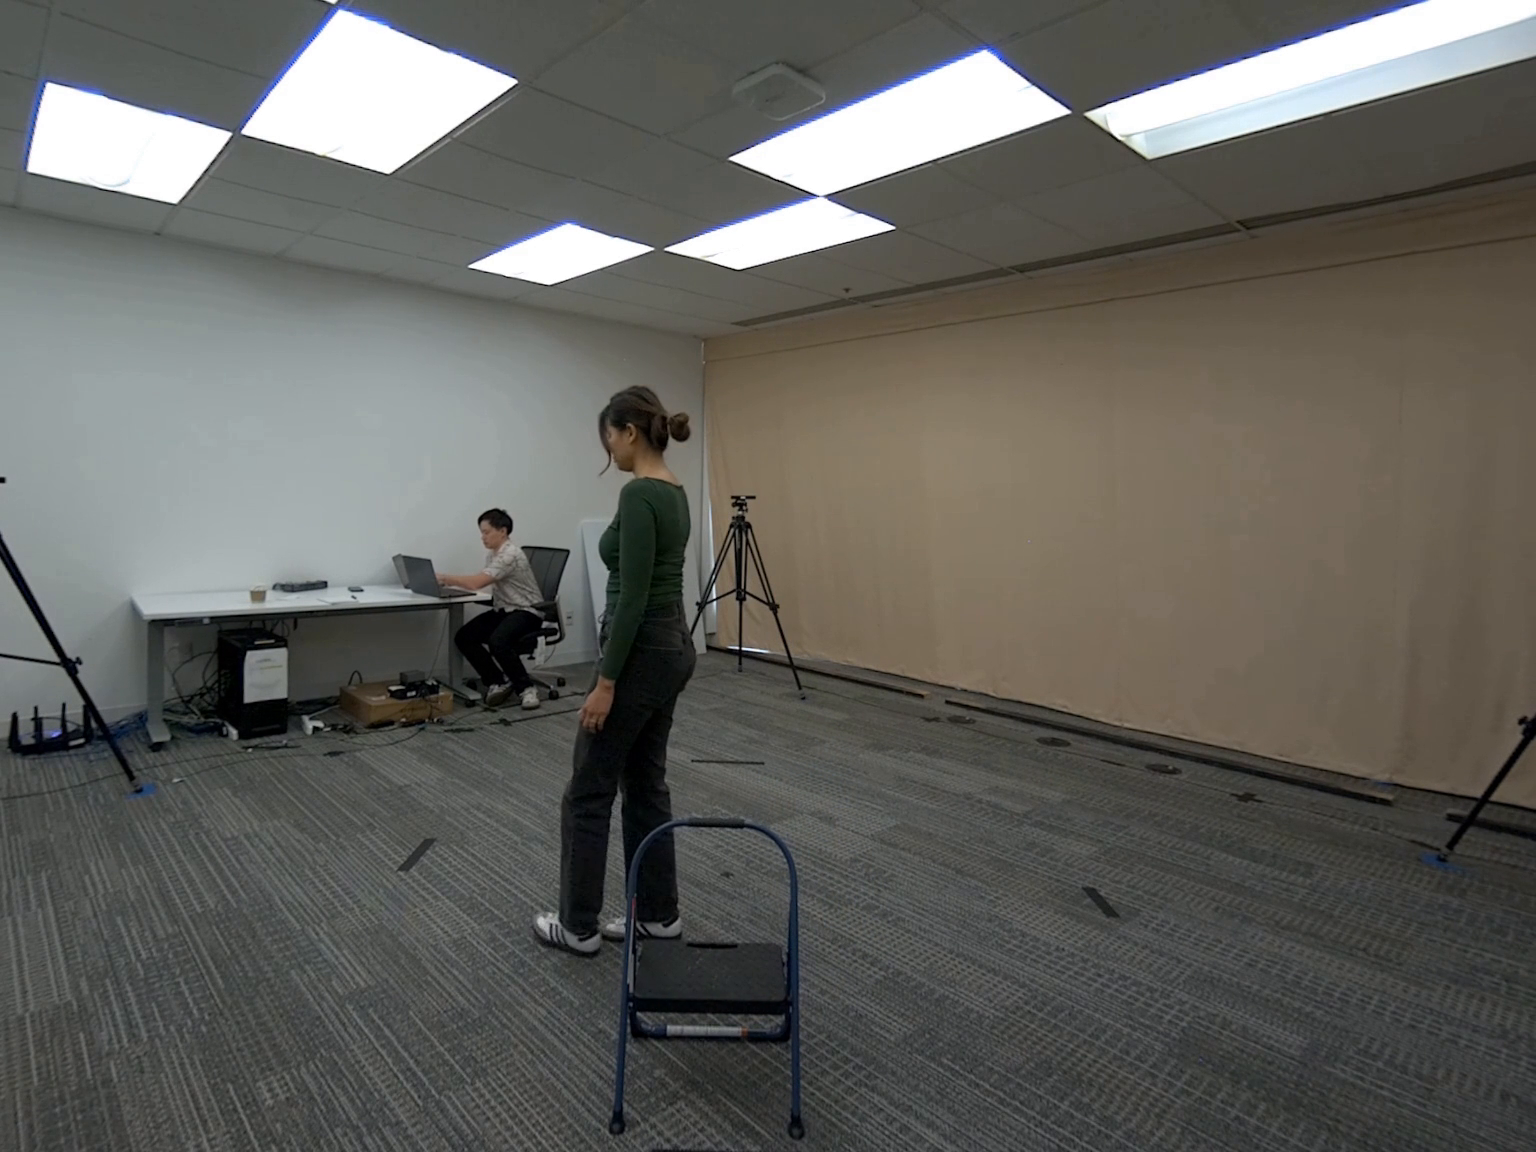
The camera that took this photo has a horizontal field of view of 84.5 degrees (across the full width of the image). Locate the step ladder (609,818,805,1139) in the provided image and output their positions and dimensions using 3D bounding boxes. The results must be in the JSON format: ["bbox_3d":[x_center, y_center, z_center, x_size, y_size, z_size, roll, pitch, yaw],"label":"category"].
[{"bbox_3d":[-0.135,0.910,1.987,0.430,0.604,0.351,2,4,-2],"label":"step ladder"}]
